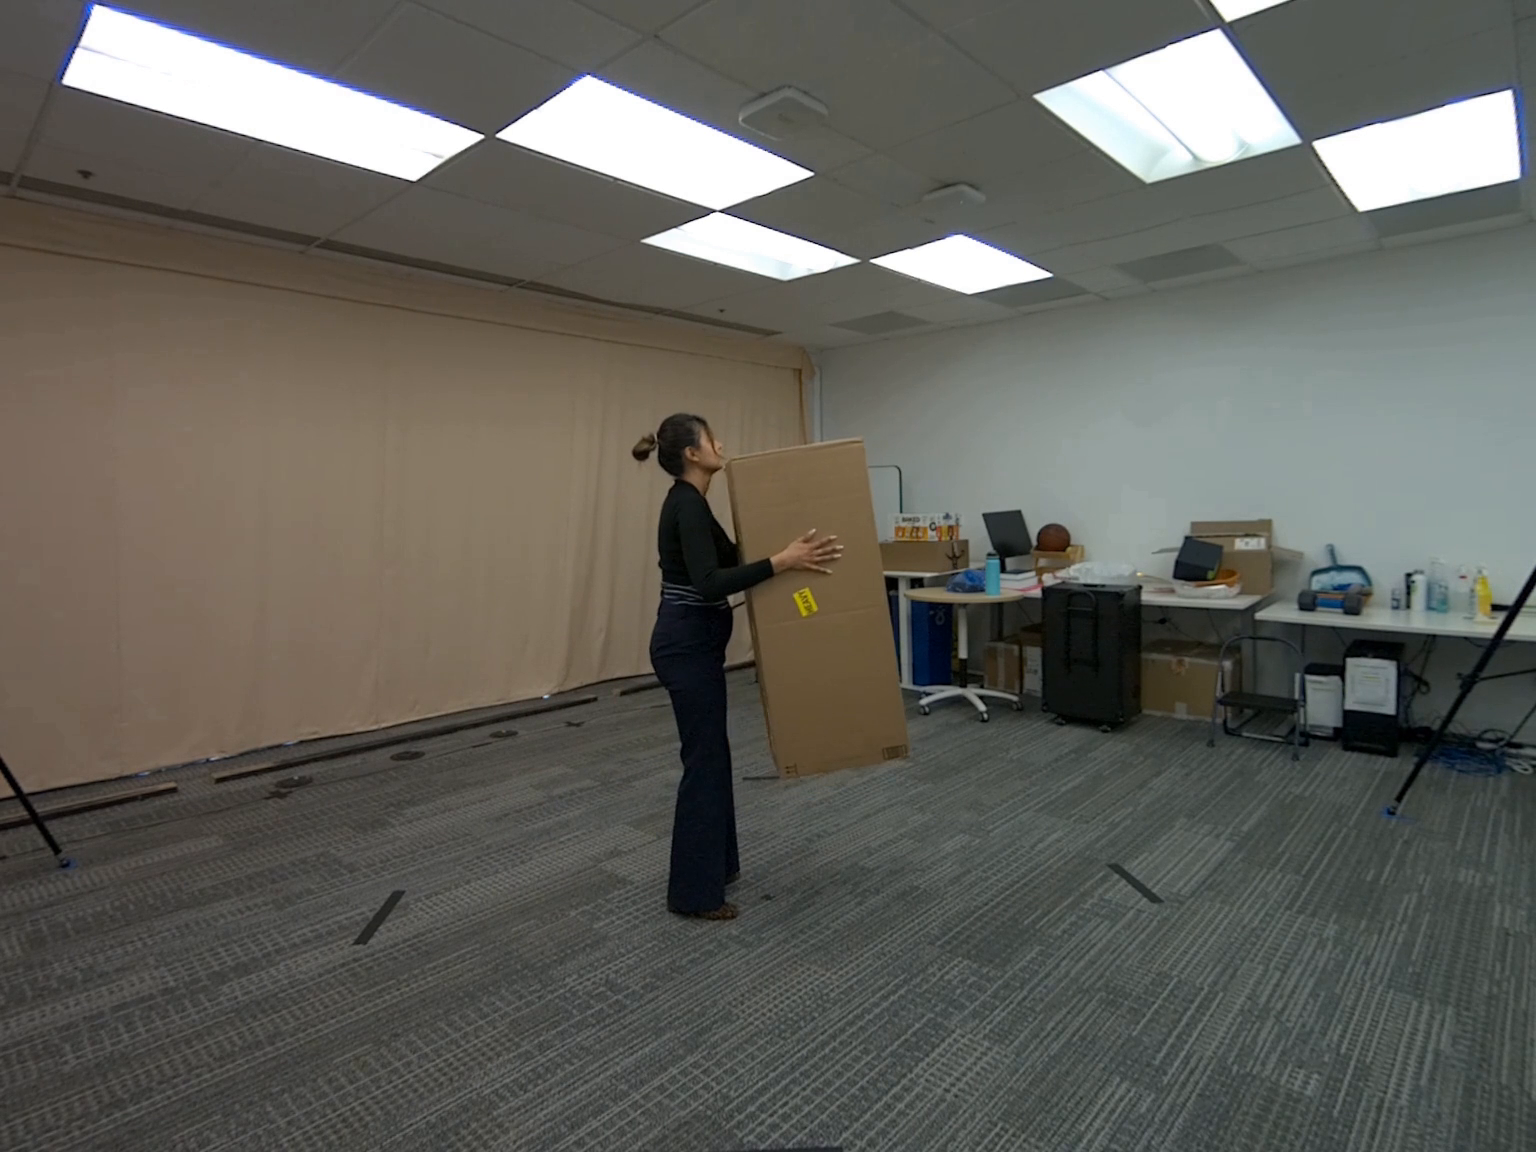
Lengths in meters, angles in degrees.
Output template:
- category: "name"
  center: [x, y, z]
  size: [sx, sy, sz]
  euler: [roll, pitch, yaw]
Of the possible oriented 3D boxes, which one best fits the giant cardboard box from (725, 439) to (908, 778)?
- category: "giant cardboard box"
  center: [0.146, 0.086, 2.910]
  size: [0.426, 1.023, 0.580]
  euler: [-9, 3, -2]
